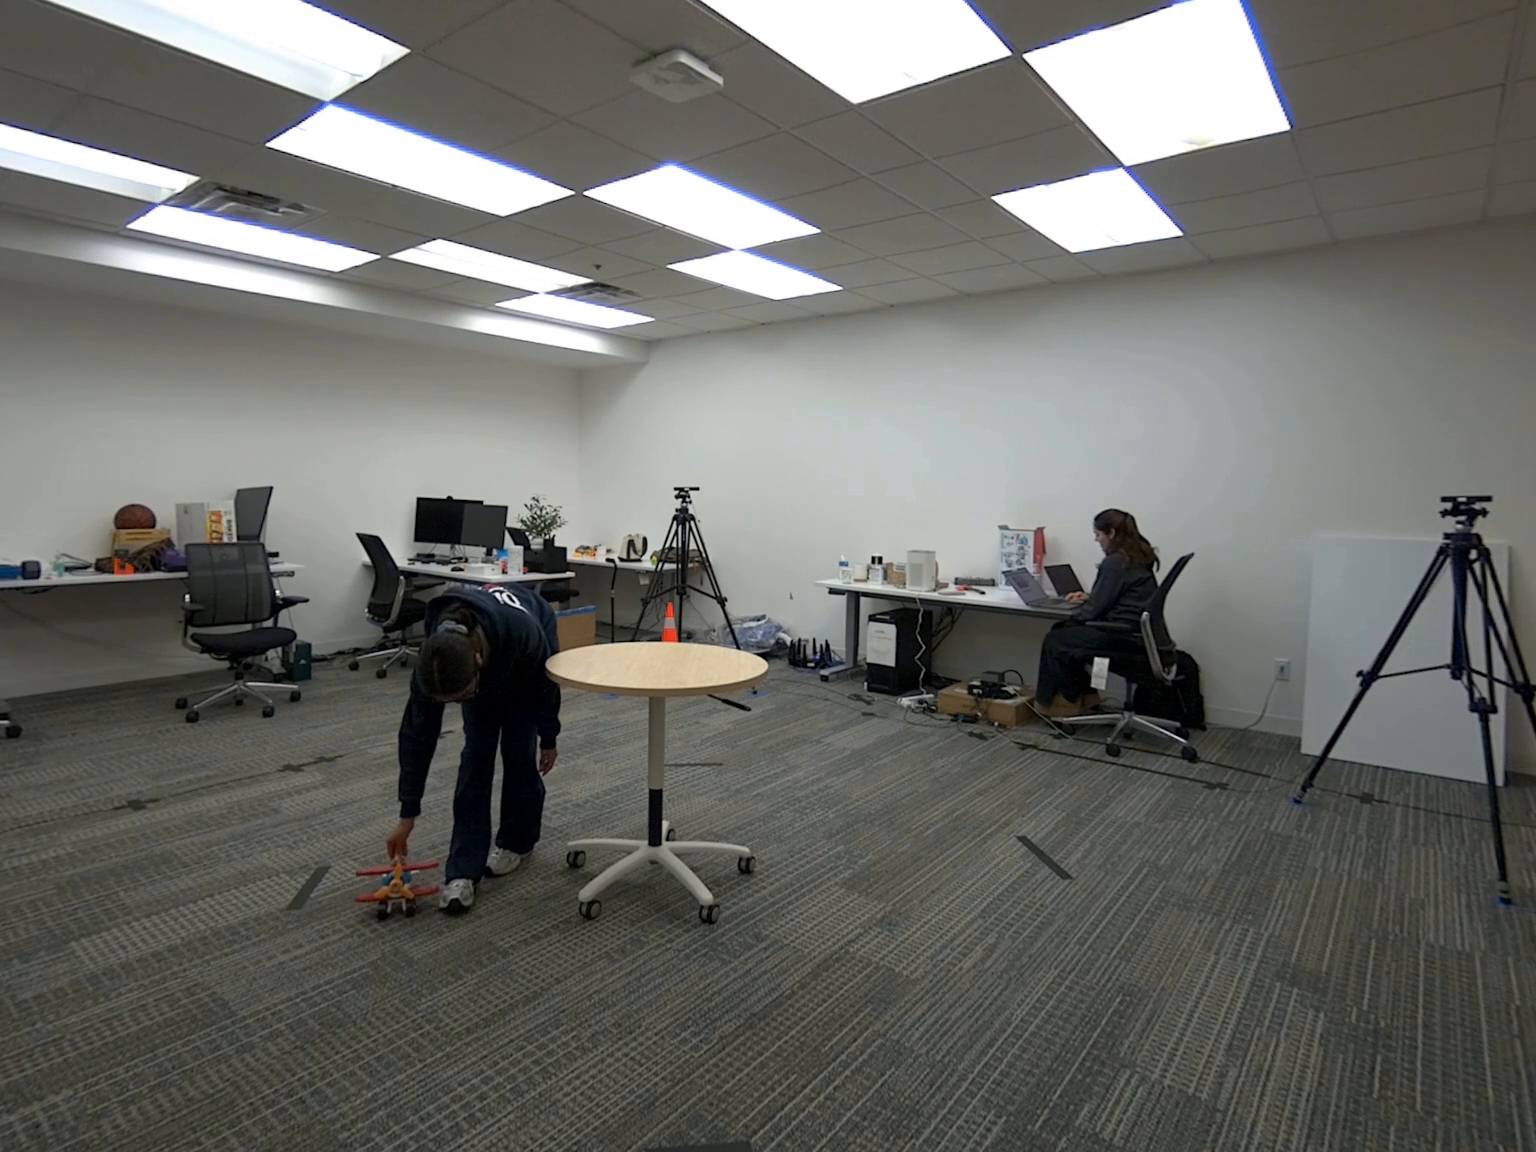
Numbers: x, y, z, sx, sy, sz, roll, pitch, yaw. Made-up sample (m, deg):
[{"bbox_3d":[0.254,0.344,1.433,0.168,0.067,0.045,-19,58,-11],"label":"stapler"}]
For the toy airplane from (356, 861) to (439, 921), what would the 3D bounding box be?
[{"bbox_3d":[-1.252,1.015,2.808,0.268,0.156,0.243,5,5,43],"label":"toy airplane"}]
